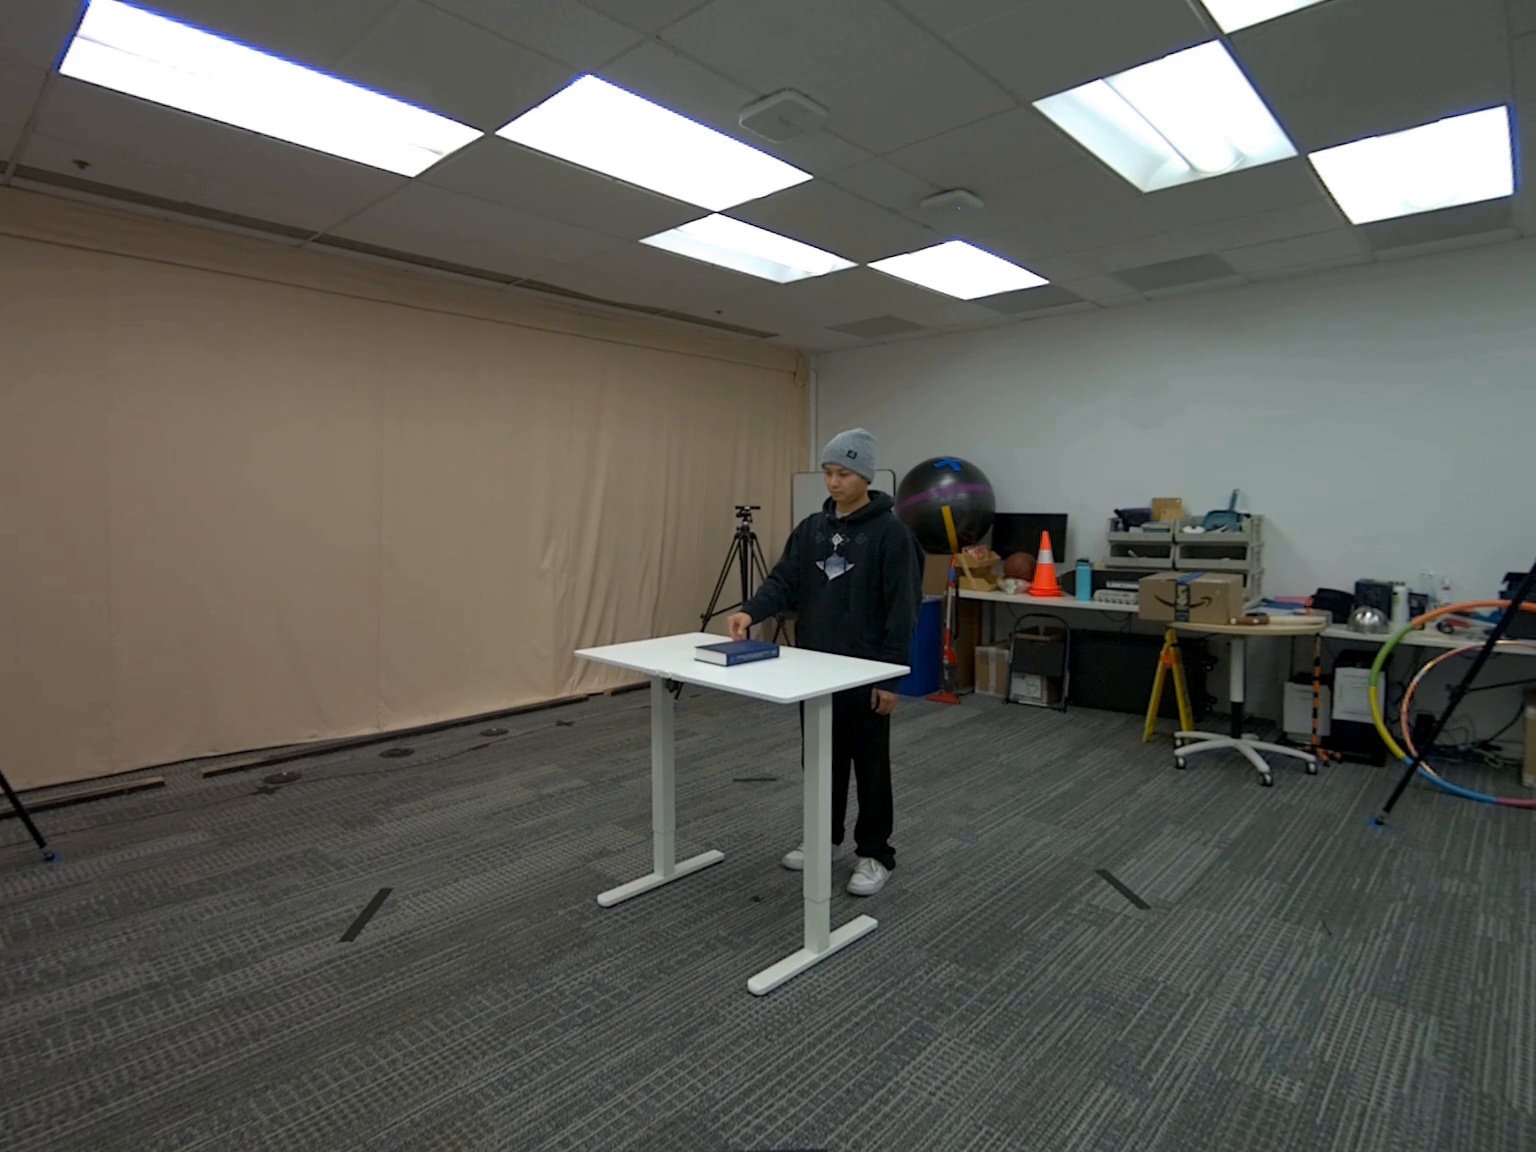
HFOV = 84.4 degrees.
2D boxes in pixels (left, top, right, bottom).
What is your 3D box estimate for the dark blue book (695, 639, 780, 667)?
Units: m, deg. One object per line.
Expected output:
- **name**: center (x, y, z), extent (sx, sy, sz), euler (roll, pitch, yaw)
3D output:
- **dark blue book**: center (-0.104, 0.258, 2.808), extent (0.238, 0.045, 0.169), euler (-5, 8, -43)
